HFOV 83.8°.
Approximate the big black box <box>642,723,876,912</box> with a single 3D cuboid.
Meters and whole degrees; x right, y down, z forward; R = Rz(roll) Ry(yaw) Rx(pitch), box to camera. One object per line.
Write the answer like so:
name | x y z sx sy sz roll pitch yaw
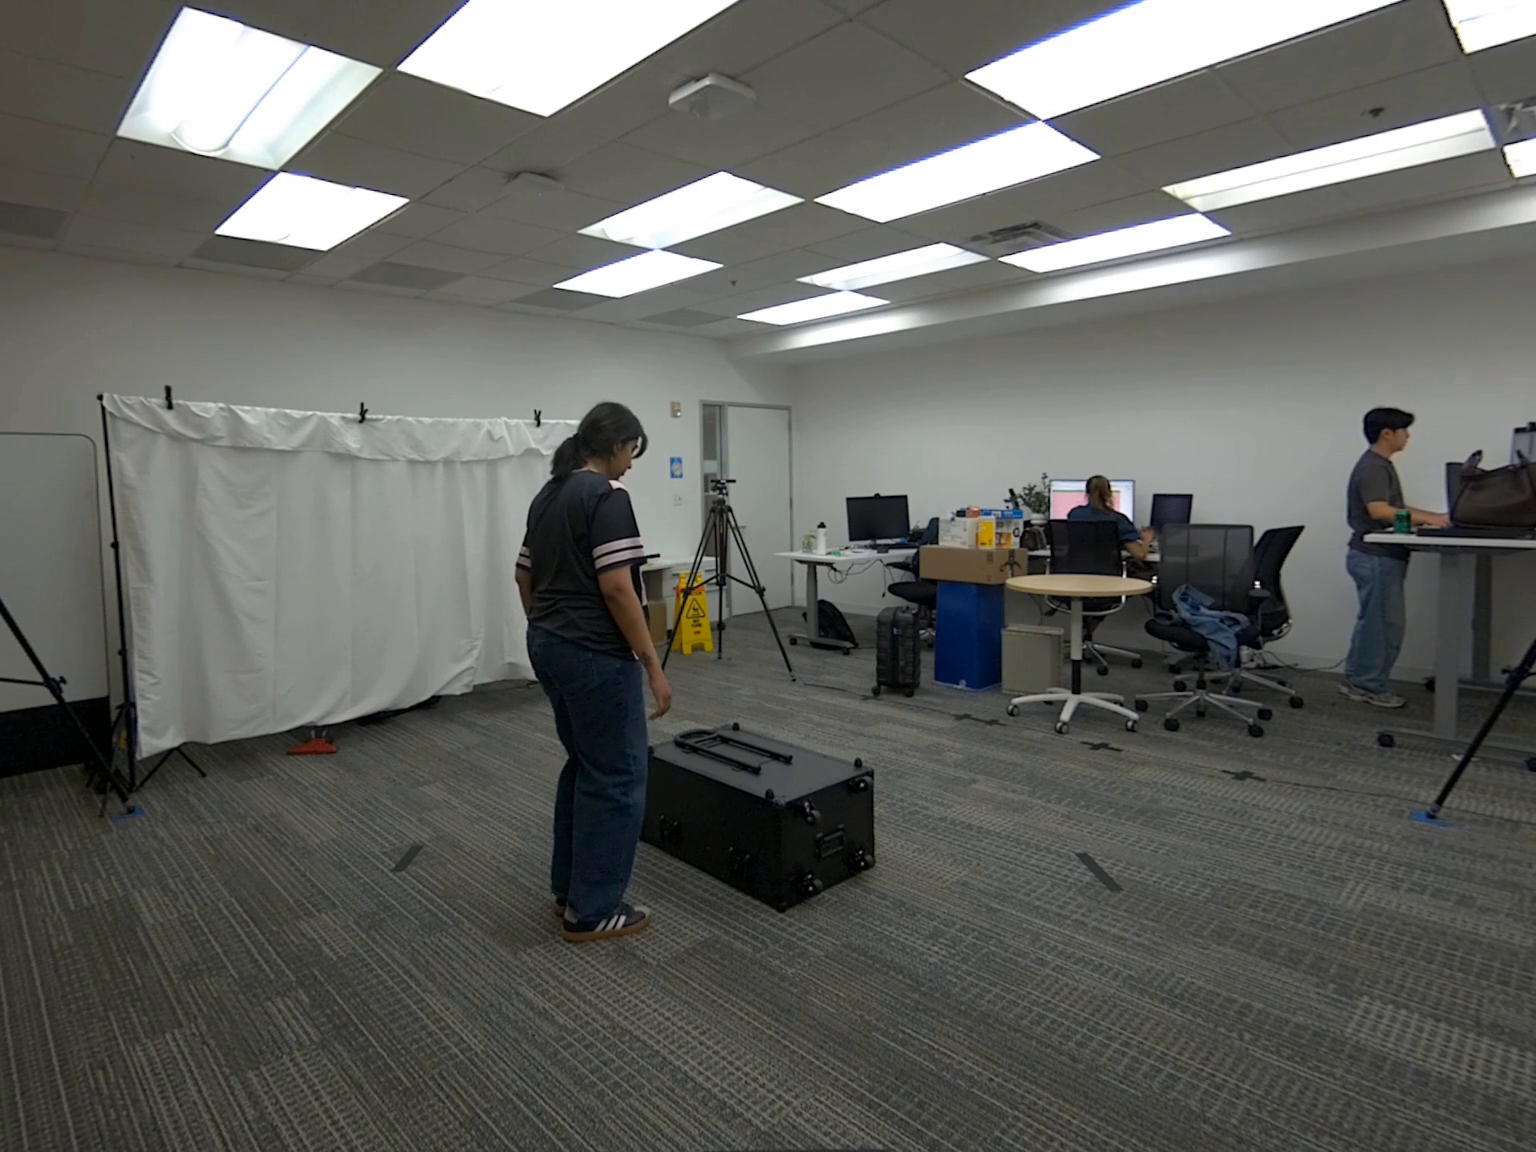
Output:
big black box | -0.028 0.856 3.171 0.509 0.384 0.895 -5 7 -43
